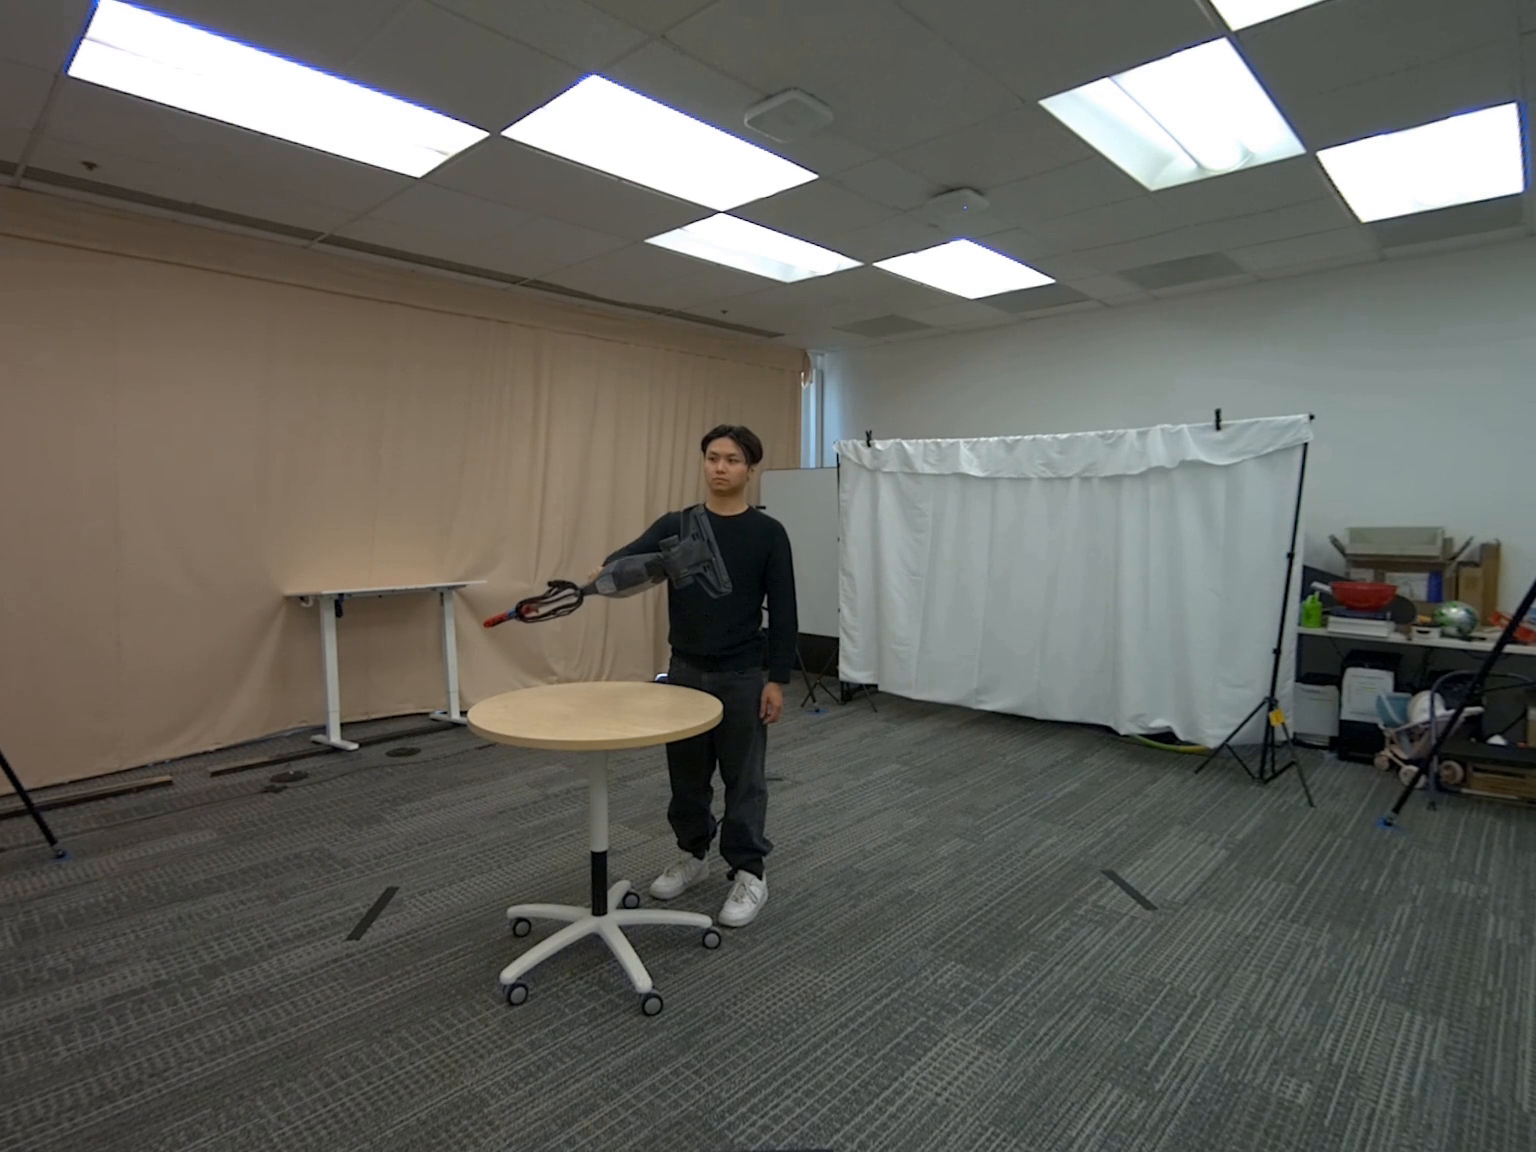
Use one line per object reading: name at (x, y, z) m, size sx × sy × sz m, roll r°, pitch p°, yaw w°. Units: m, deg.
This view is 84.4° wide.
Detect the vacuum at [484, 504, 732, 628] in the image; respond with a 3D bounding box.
vacuum at (-0.589, 0.065, 2.588) m, size 1.075 × 0.251 × 0.141 m, roll -18°, pitch 7°, yaw 42°
